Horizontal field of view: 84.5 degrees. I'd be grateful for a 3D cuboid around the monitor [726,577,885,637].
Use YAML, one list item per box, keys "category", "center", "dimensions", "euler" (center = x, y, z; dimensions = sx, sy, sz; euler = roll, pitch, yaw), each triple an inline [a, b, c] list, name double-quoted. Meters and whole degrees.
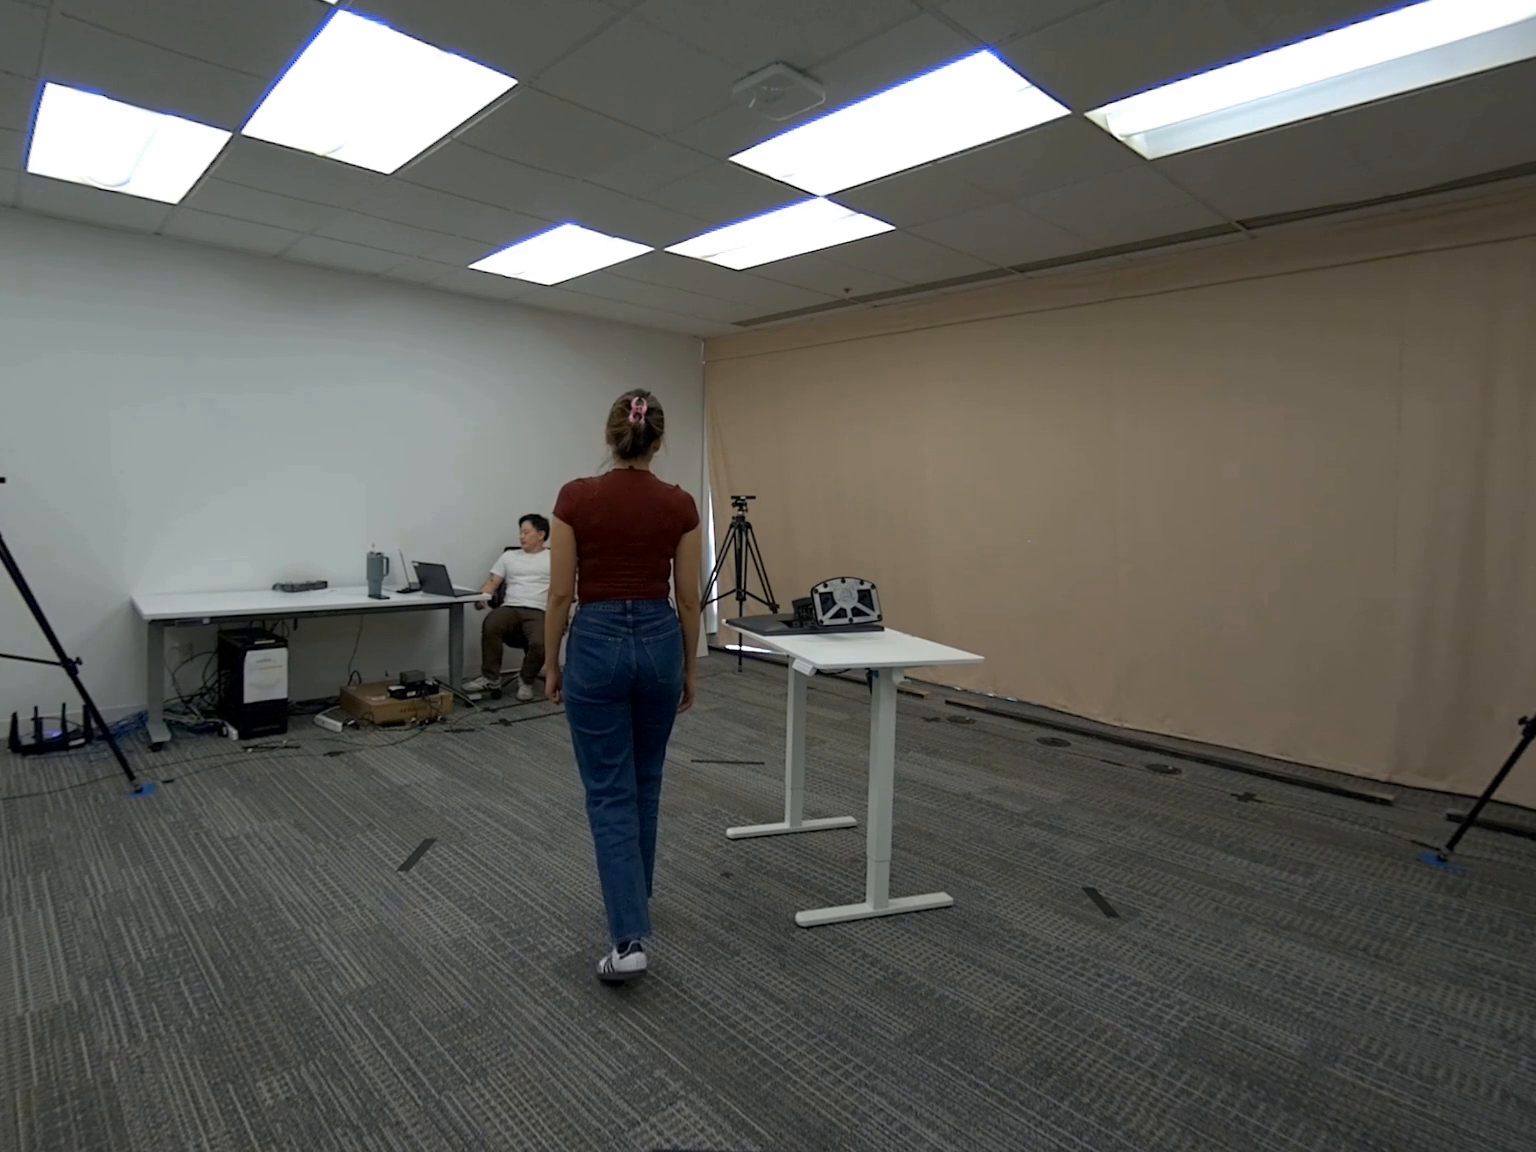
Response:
- category: "monitor"
  center: [0.172, 0.148, 3.297]
  dimensions: [0.530, 0.189, 0.526]
  euler: [0, -12, -24]
